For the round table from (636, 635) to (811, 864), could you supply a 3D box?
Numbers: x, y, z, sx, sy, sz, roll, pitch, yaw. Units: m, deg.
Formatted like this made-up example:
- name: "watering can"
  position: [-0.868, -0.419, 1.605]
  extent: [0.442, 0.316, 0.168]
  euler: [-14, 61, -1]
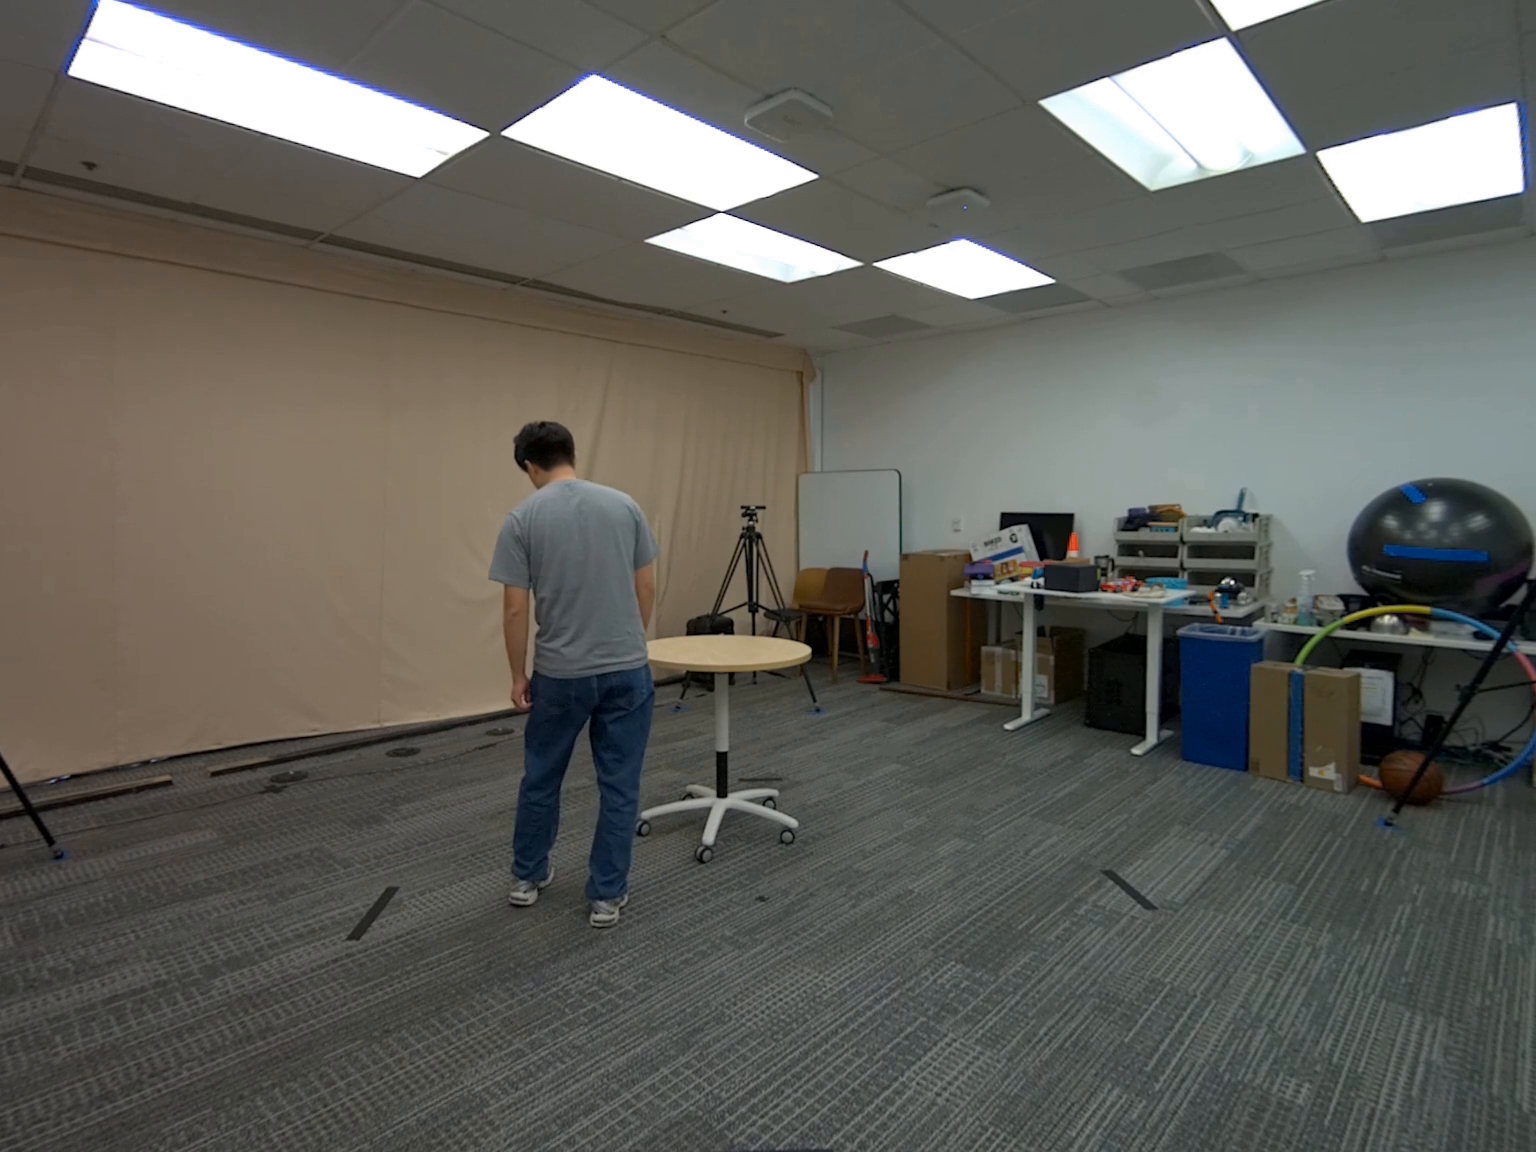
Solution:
- name: "round table"
  position: [-0.193, 0.705, 3.612]
  extent: [0.763, 0.792, 0.766]
  euler: [0, 3, -2]
